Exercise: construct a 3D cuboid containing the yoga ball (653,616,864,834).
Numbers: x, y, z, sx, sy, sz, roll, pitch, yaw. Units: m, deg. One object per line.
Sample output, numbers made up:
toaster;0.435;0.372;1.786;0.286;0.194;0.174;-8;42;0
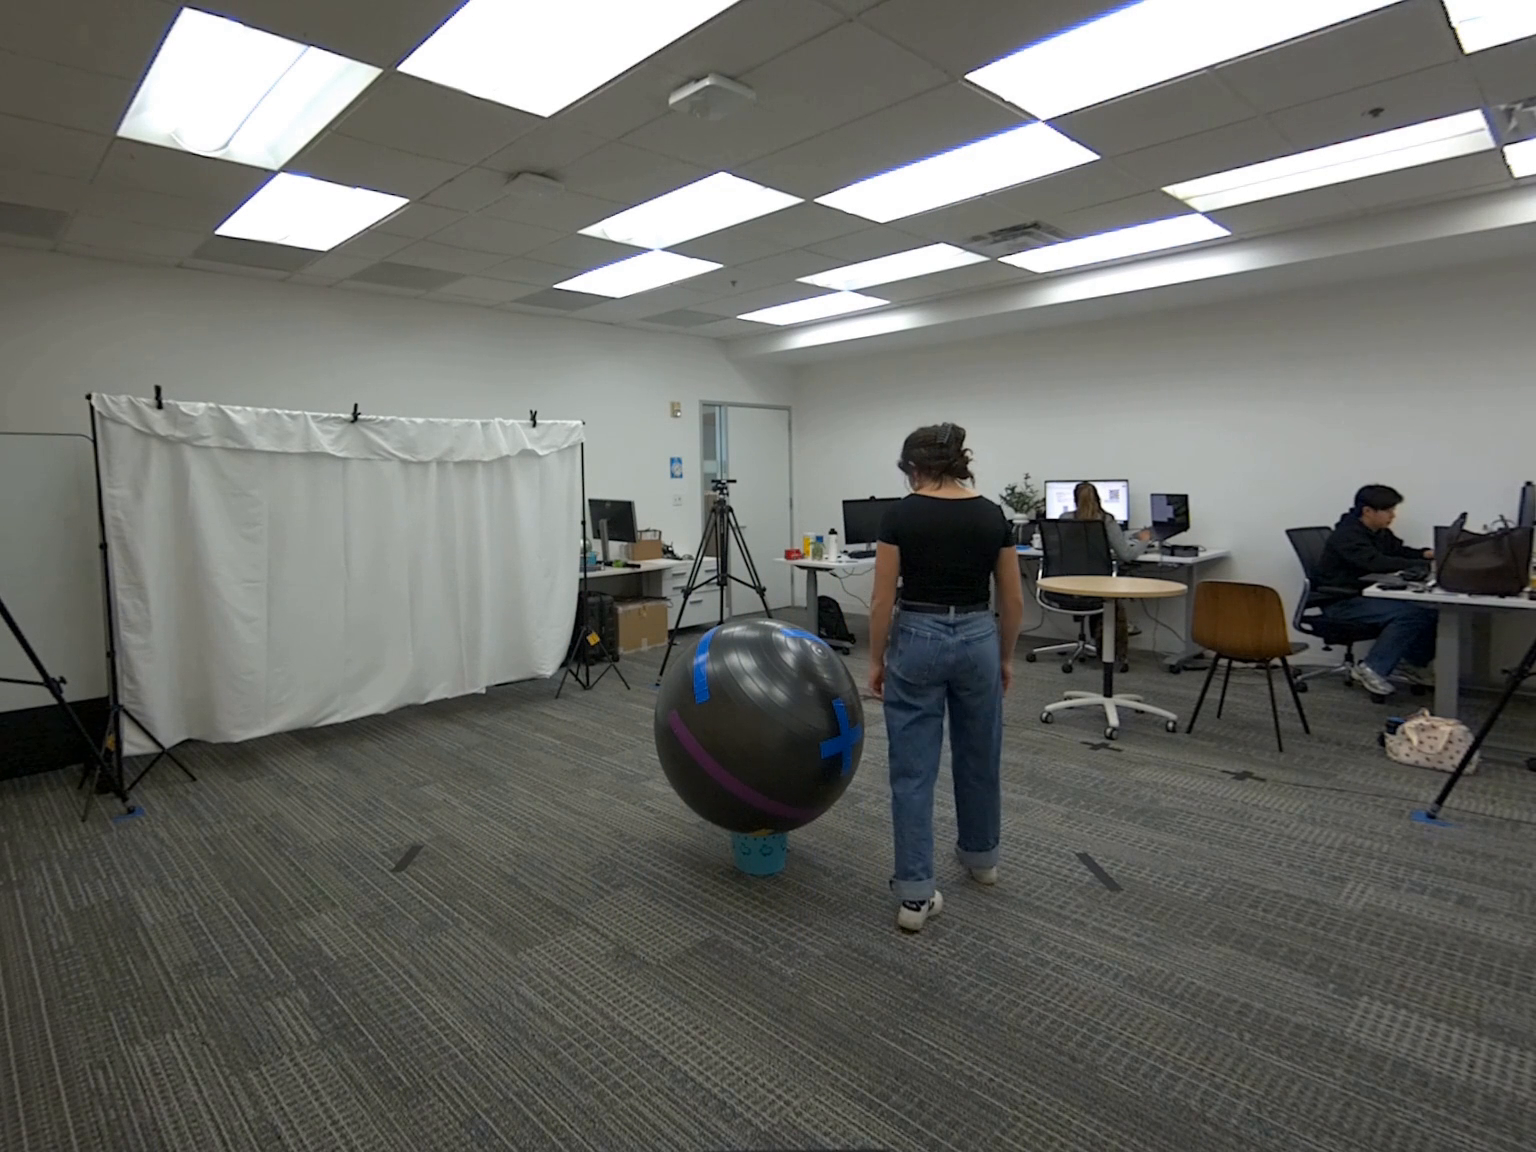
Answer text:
yoga ball;-0.035;0.535;3.081;0.757;0.755;0.762;-1;5;-2
